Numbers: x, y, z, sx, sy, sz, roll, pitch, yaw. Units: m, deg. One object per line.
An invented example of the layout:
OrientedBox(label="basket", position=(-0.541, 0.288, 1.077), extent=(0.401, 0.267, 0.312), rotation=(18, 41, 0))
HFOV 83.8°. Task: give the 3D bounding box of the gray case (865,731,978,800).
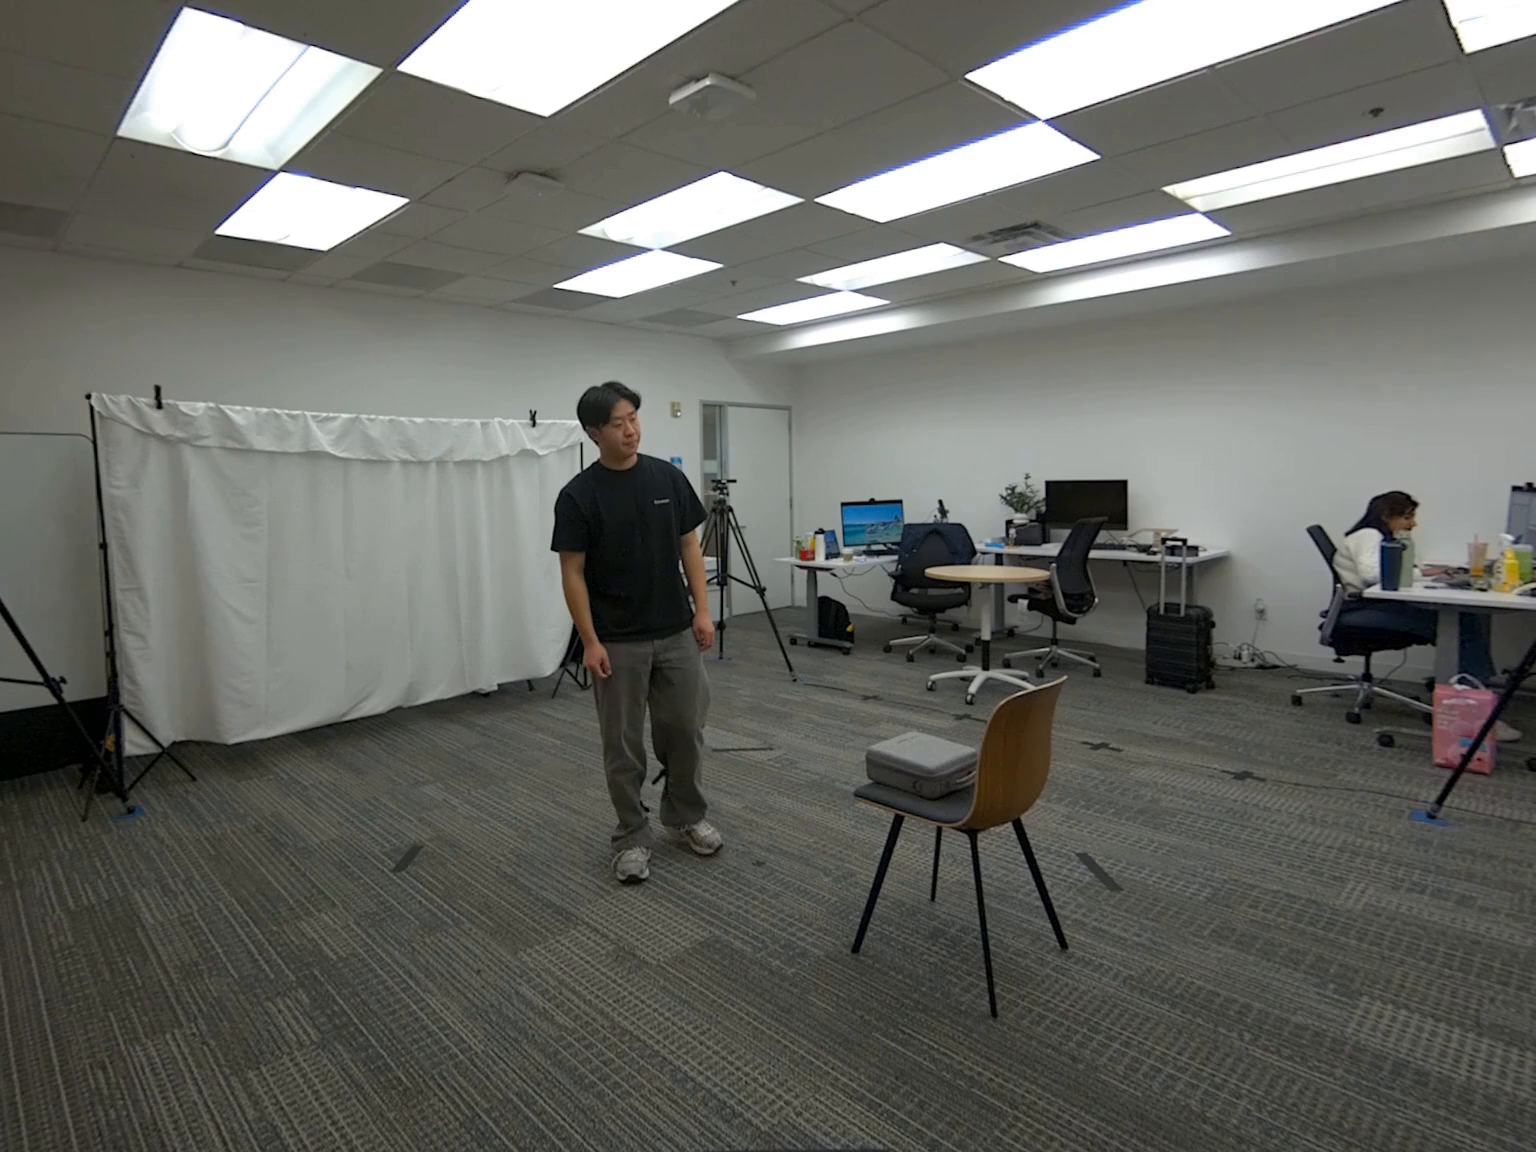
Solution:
OrientedBox(label="gray case", position=(0.473, 0.564, 2.555), extent=(0.256, 0.102, 0.296), rotation=(-7, 9, -43))
